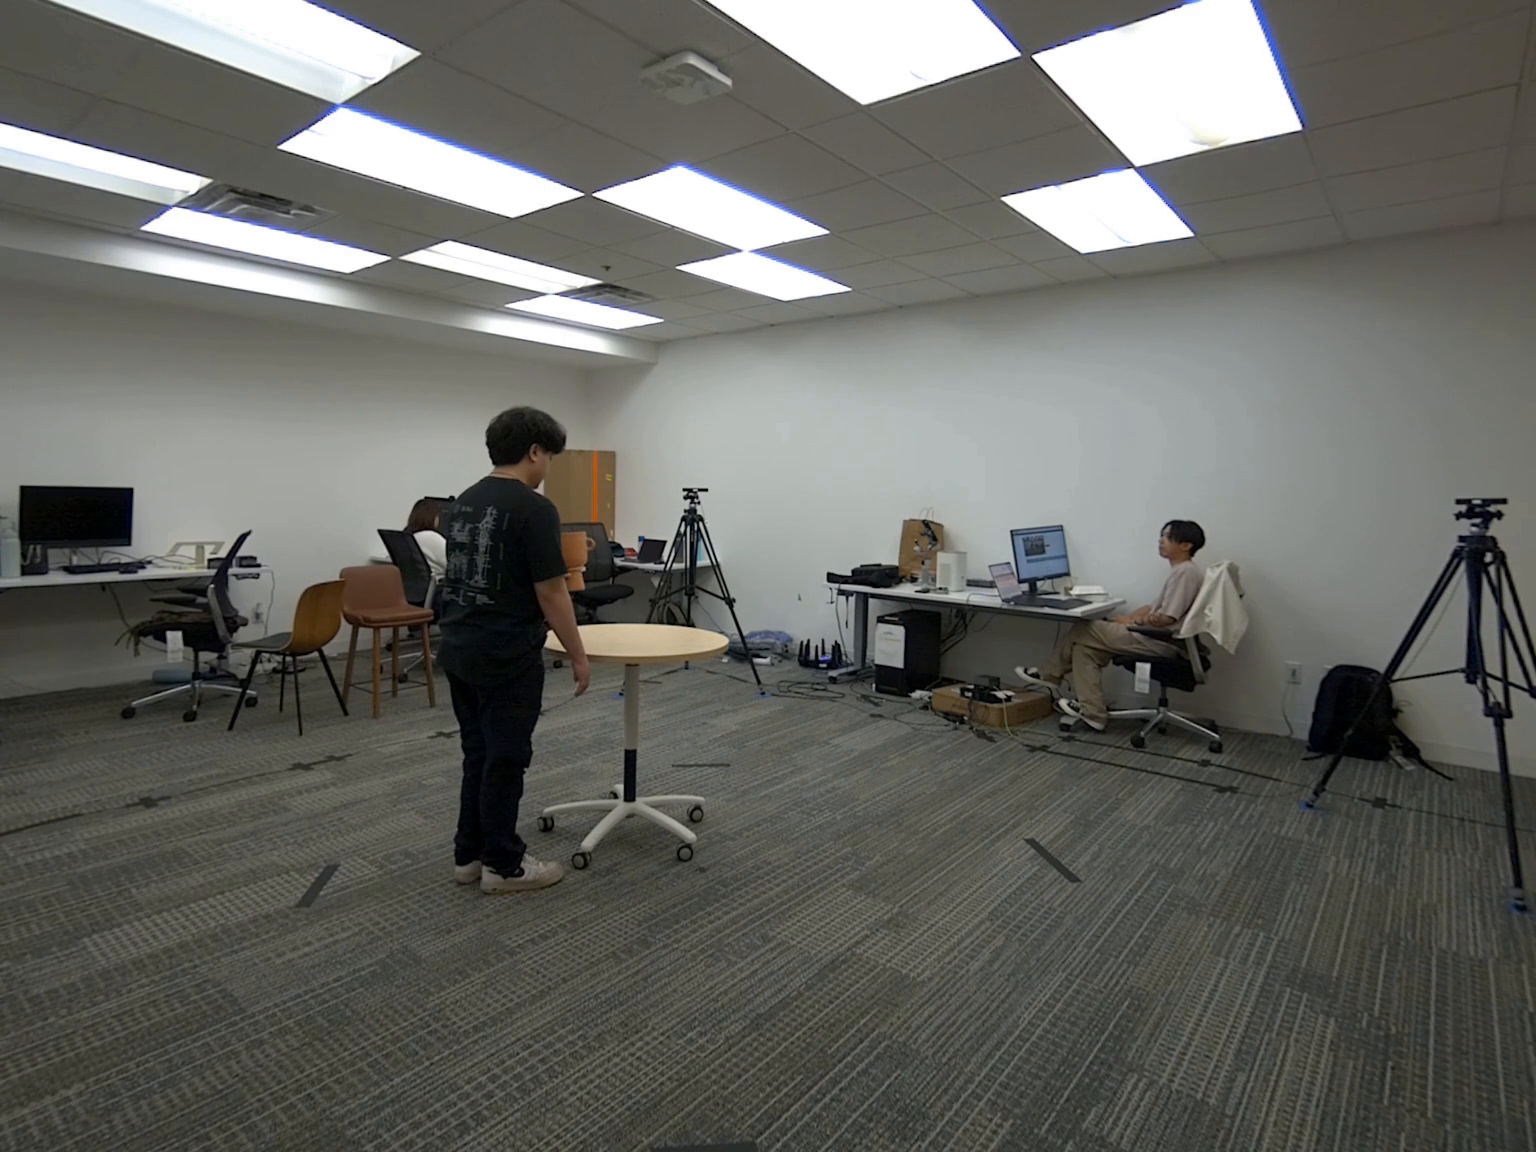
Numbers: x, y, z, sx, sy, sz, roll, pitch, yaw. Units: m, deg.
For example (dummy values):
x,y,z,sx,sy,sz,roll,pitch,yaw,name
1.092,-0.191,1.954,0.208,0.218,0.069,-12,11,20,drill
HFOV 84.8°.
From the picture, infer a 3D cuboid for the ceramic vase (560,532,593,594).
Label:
x,y,z,sx,sy,sz,roll,pitch,yaw,name
-0.772,-0.058,3.252,0.164,0.220,0.130,0,1,42,ceramic vase
